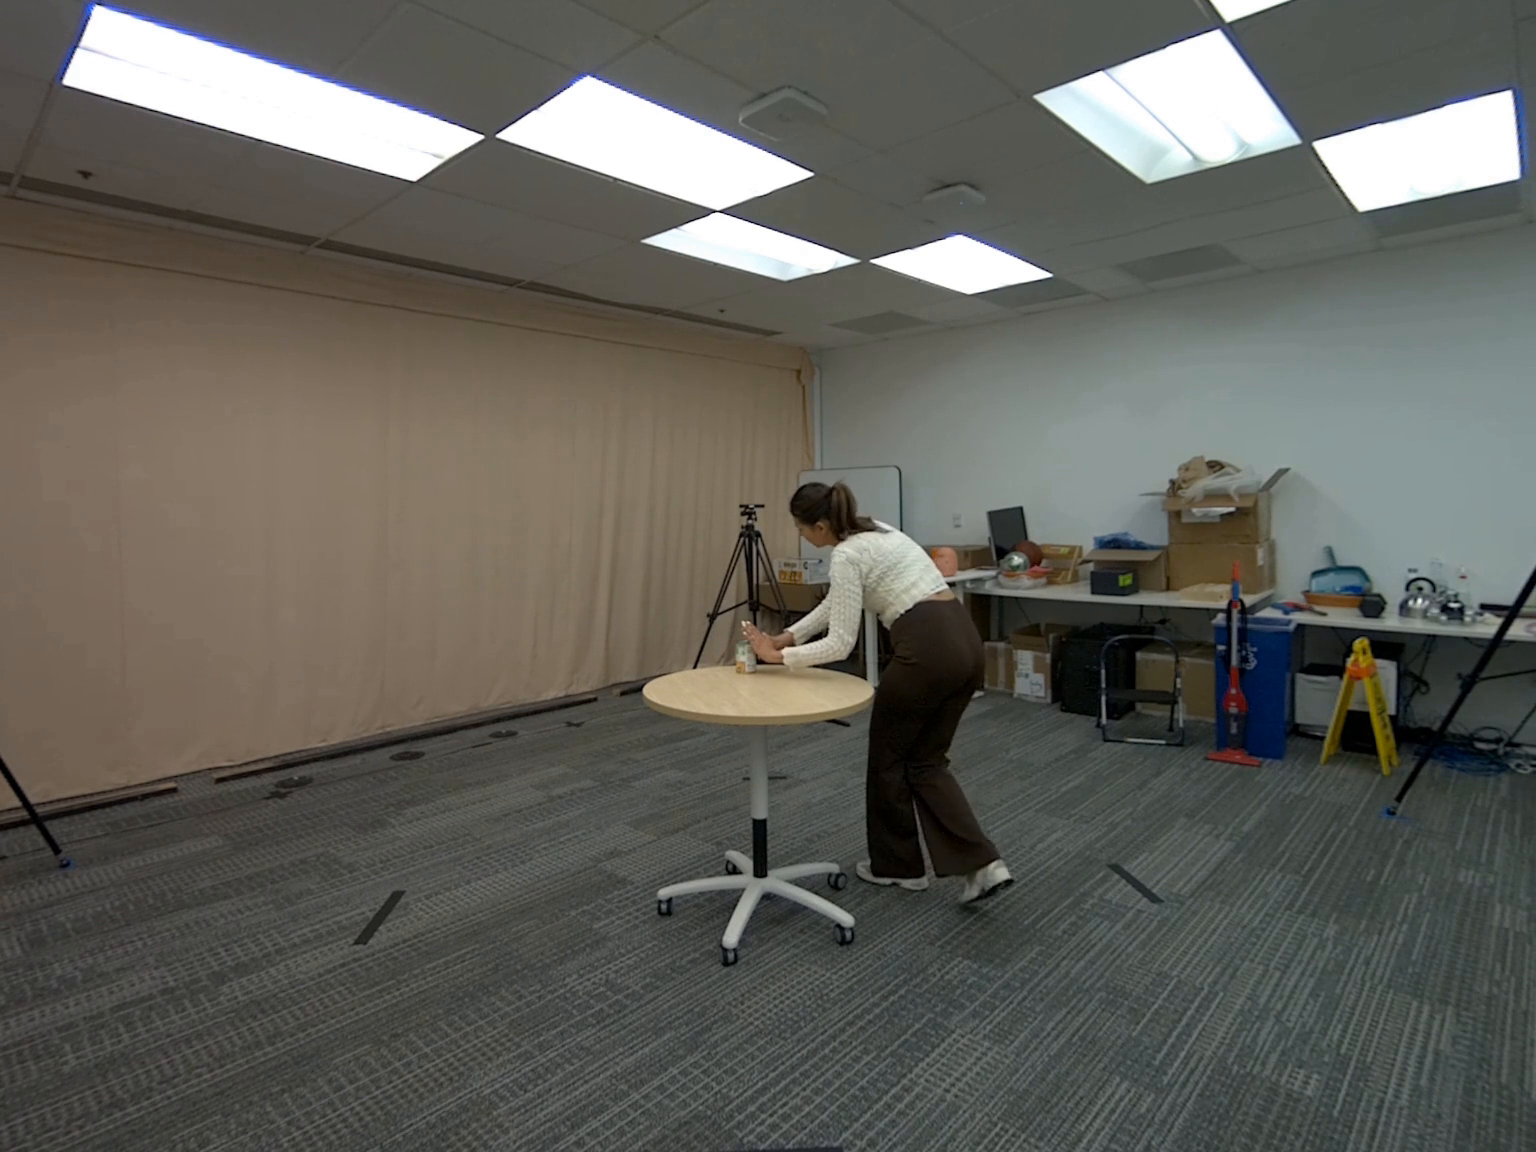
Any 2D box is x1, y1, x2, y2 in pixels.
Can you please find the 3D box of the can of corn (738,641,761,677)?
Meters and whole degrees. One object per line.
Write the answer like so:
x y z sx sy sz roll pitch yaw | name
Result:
-0.068 0.298 3.055 0.074 0.111 0.074 2 5 -2 | can of corn
